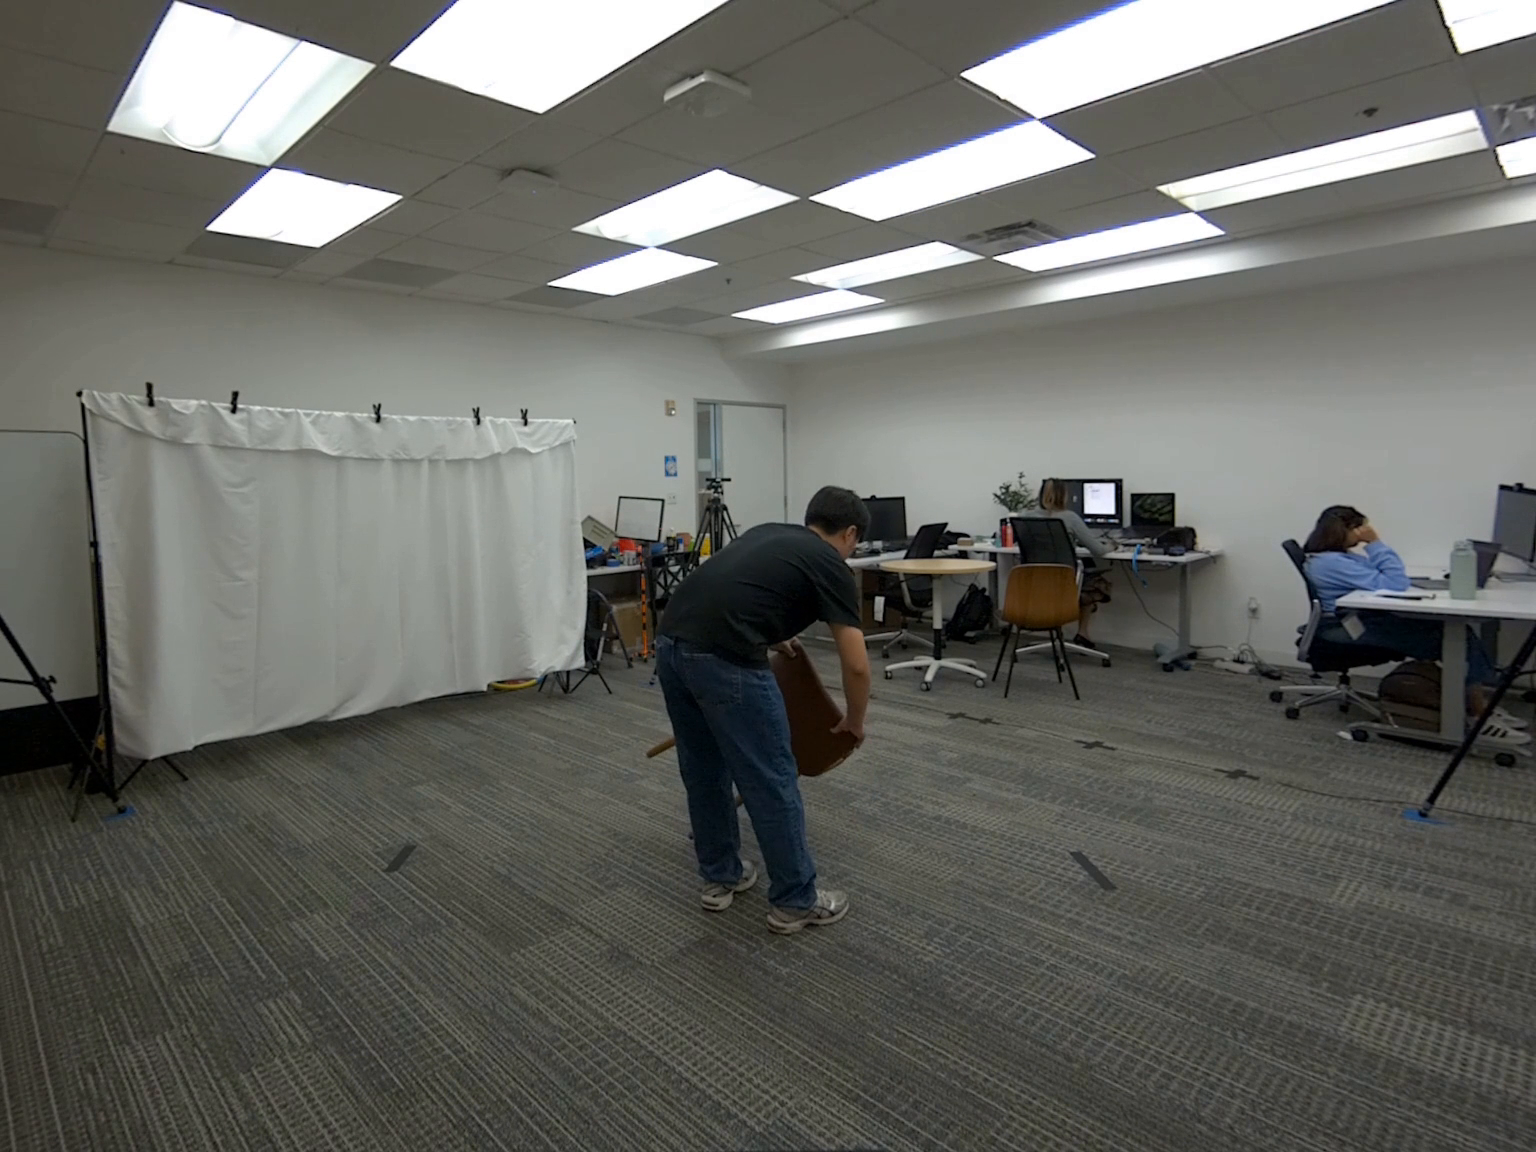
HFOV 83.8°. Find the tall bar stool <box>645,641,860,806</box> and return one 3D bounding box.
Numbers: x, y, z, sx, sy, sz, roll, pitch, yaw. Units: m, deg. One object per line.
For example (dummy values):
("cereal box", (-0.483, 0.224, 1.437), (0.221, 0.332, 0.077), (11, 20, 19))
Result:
("tall bar stool", (0.021, 0.600, 3.288), (0.893, 0.466, 0.456), (-40, -18, 30))
